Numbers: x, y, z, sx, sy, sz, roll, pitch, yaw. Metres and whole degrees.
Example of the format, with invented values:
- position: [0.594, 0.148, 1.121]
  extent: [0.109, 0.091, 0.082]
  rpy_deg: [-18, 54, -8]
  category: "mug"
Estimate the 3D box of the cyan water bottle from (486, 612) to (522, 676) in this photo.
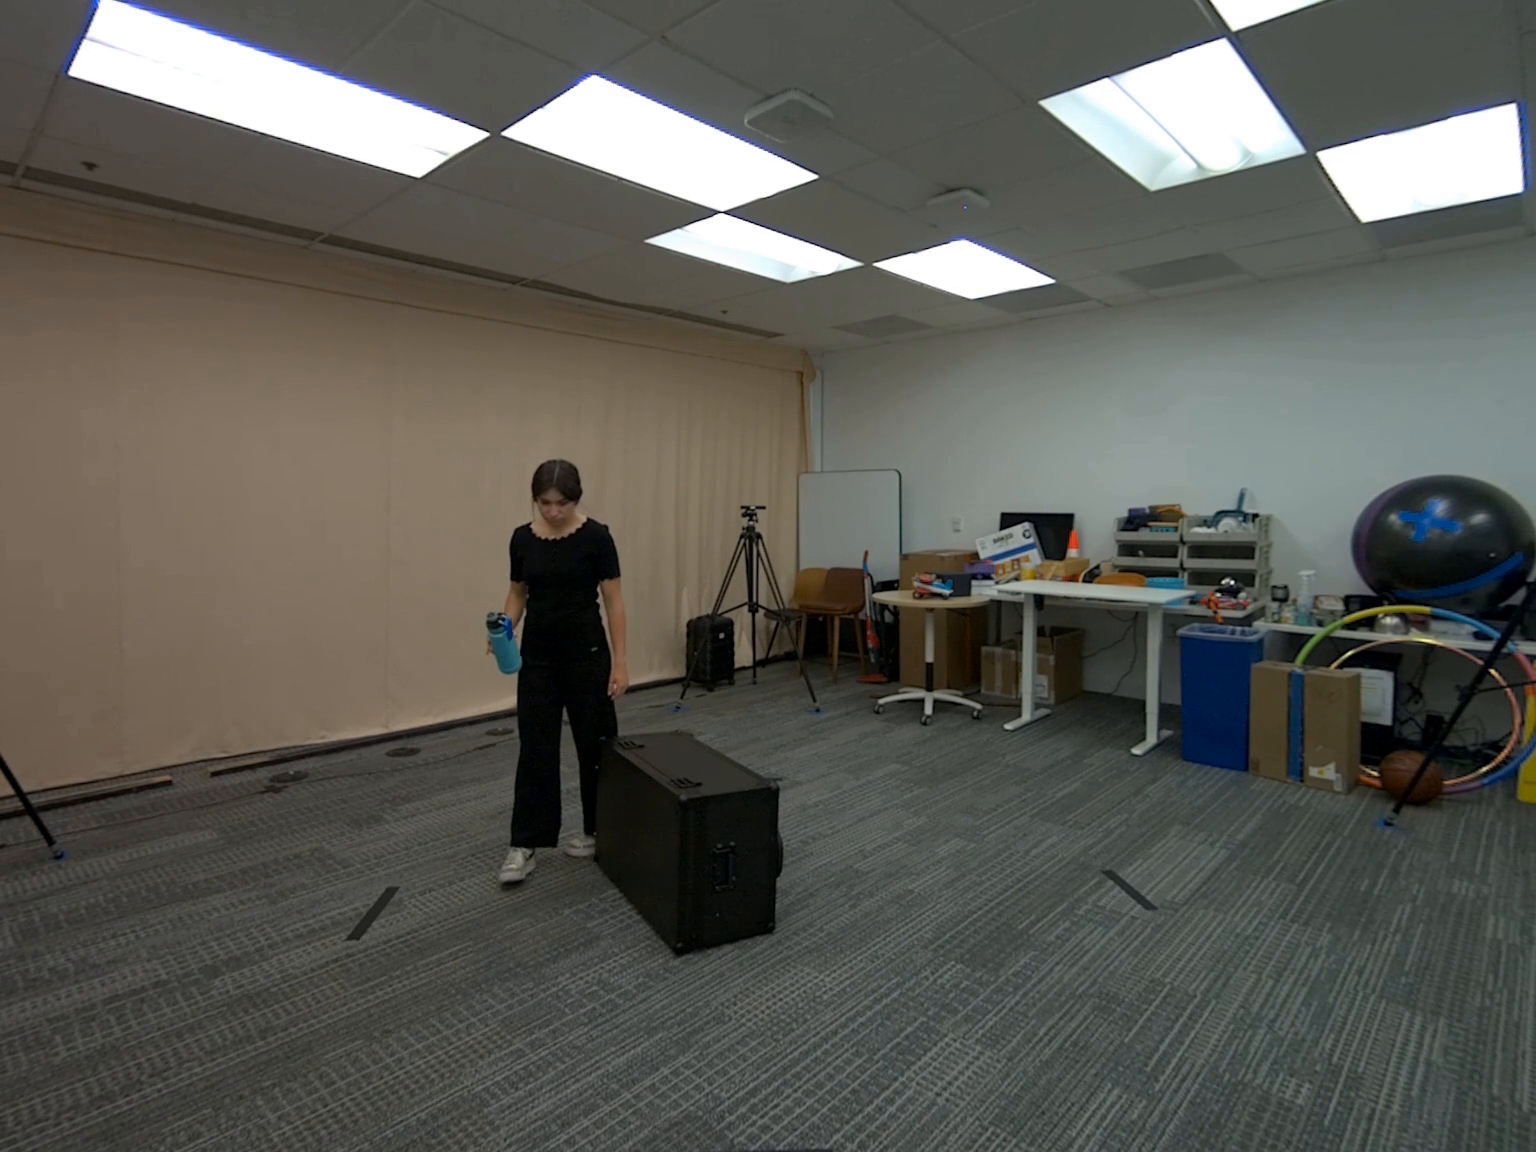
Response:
- position: [-0.979, 0.239, 3.102]
  extent: [0.092, 0.277, 0.094]
  rpy_deg: [-2, 44, 0]
  category: "cyan water bottle"
